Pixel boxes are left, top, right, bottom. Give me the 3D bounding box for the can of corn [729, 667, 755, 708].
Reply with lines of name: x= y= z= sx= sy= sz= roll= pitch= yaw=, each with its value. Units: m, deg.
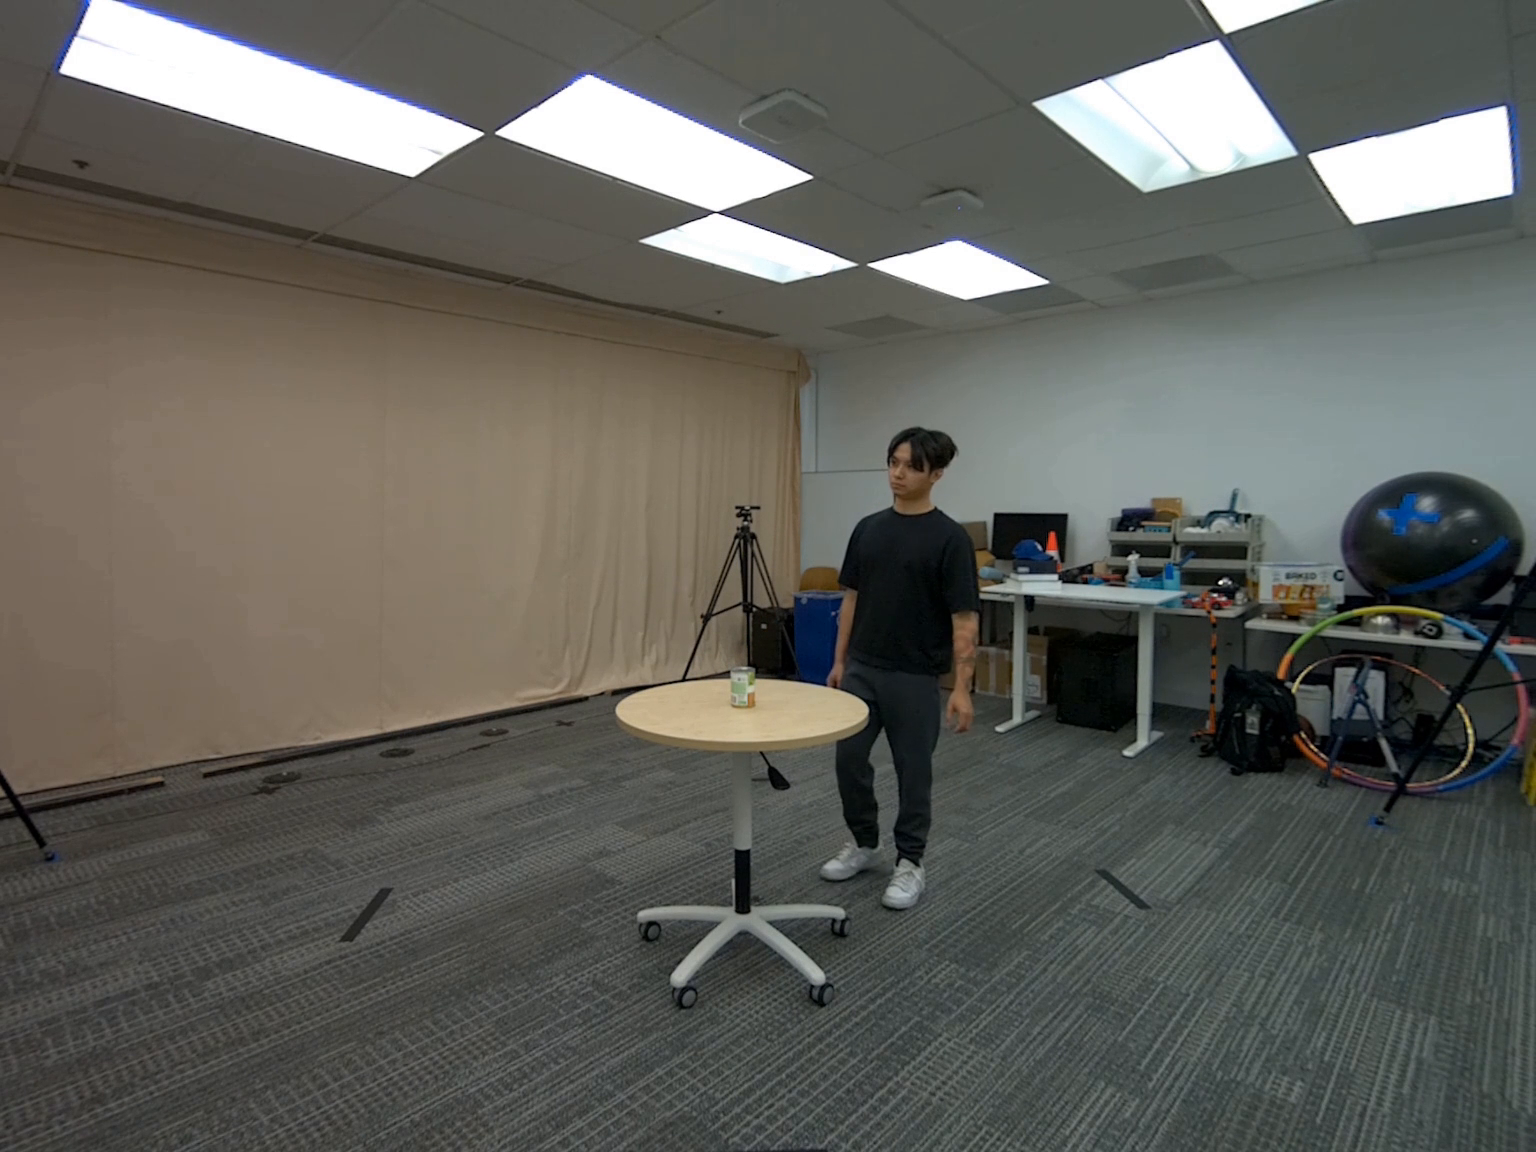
can of corn: x=-0.071 y=0.342 z=2.562 sx=0.074 sy=0.111 sz=0.074 roll=-1 pitch=5 yaw=-2
